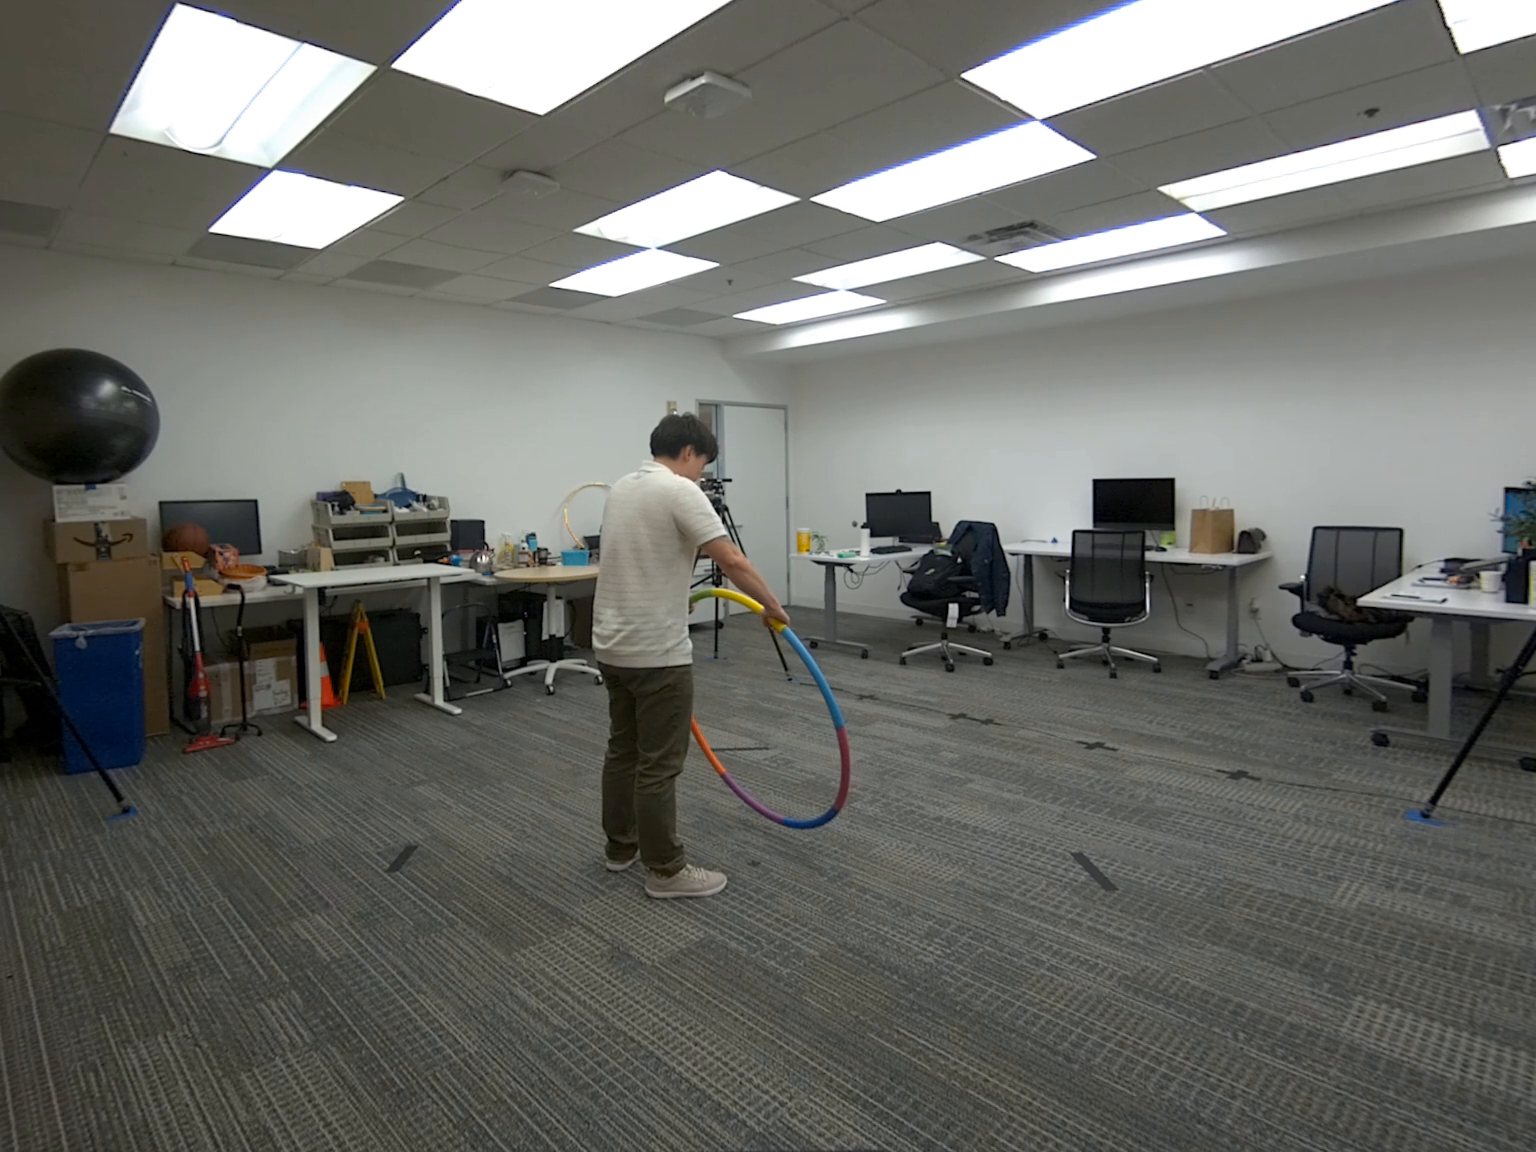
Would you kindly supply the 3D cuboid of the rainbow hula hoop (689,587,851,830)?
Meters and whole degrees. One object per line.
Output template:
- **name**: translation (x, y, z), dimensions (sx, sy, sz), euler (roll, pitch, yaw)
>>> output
- **rainbow hula hoop**: translation (-0.062, 0.511, 3.255), dimensions (0.035, 0.964, 1.008), euler (-23, 17, -36)
